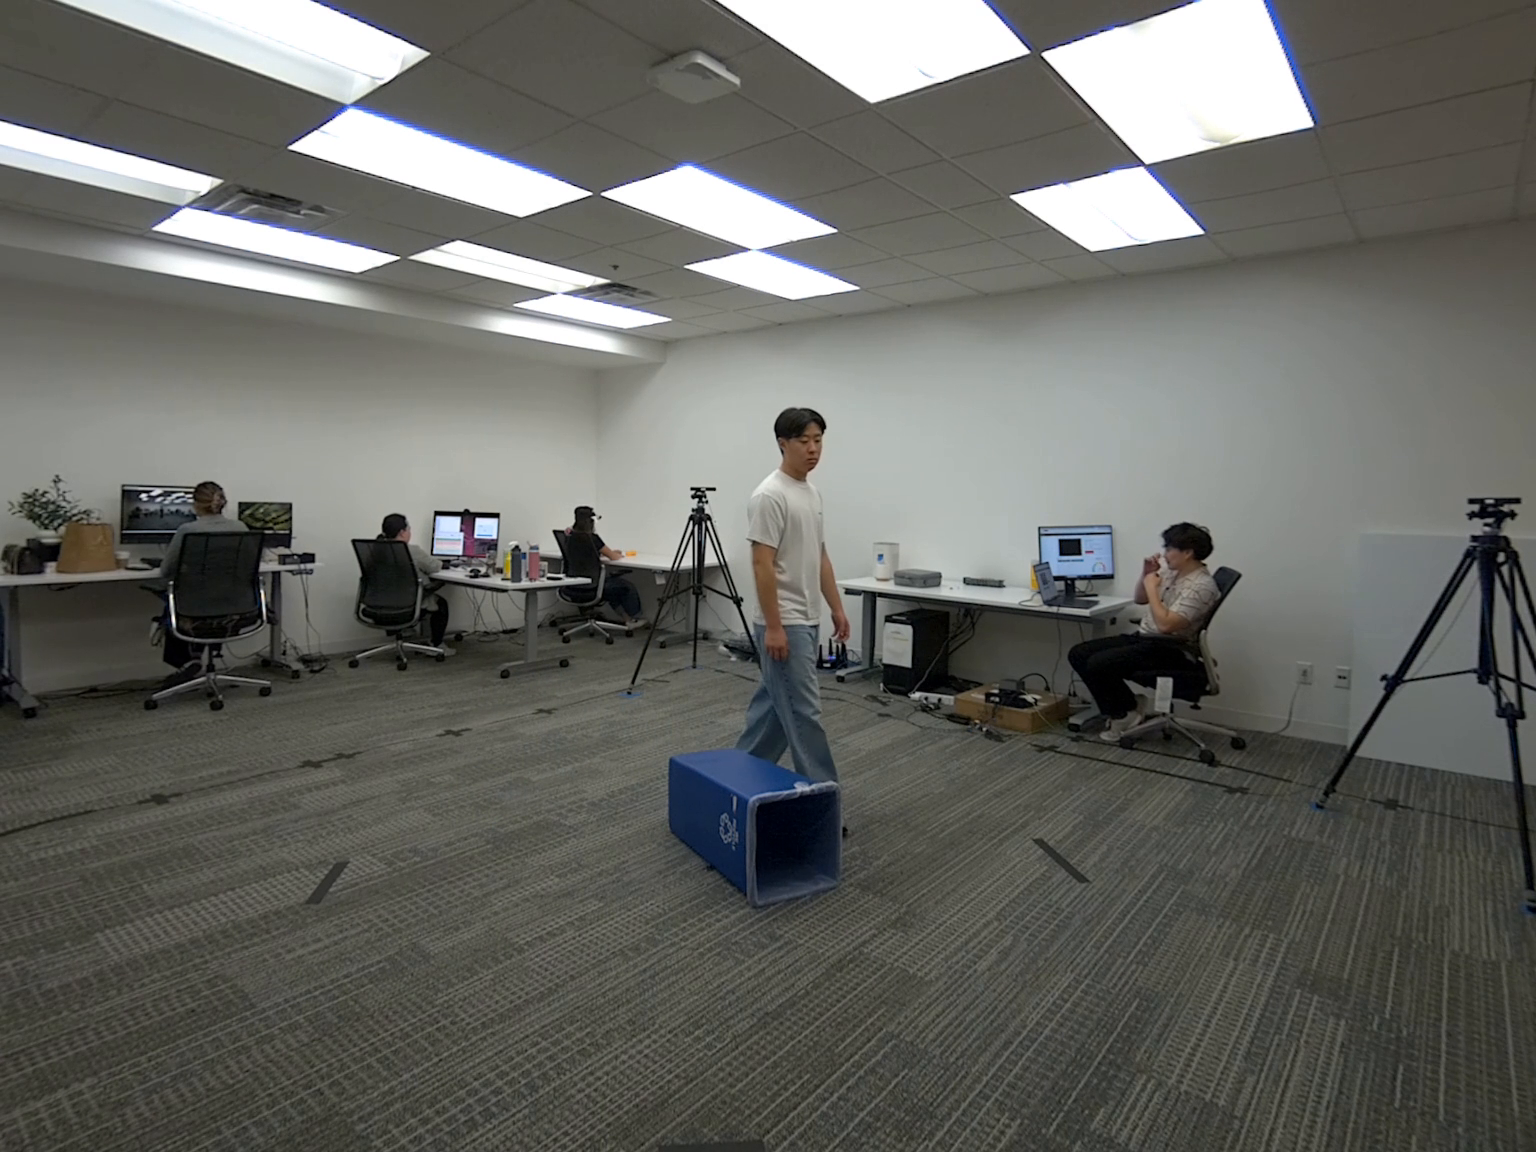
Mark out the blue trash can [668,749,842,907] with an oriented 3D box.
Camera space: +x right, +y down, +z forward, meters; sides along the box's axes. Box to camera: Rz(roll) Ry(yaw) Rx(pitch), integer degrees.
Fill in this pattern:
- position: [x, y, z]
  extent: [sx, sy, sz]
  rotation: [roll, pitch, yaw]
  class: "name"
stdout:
- position: [-0.101, 0.895, 3.197]
  extent: [0.364, 0.378, 0.734]
  rotation: [-1, 3, -31]
  class: "blue trash can"
